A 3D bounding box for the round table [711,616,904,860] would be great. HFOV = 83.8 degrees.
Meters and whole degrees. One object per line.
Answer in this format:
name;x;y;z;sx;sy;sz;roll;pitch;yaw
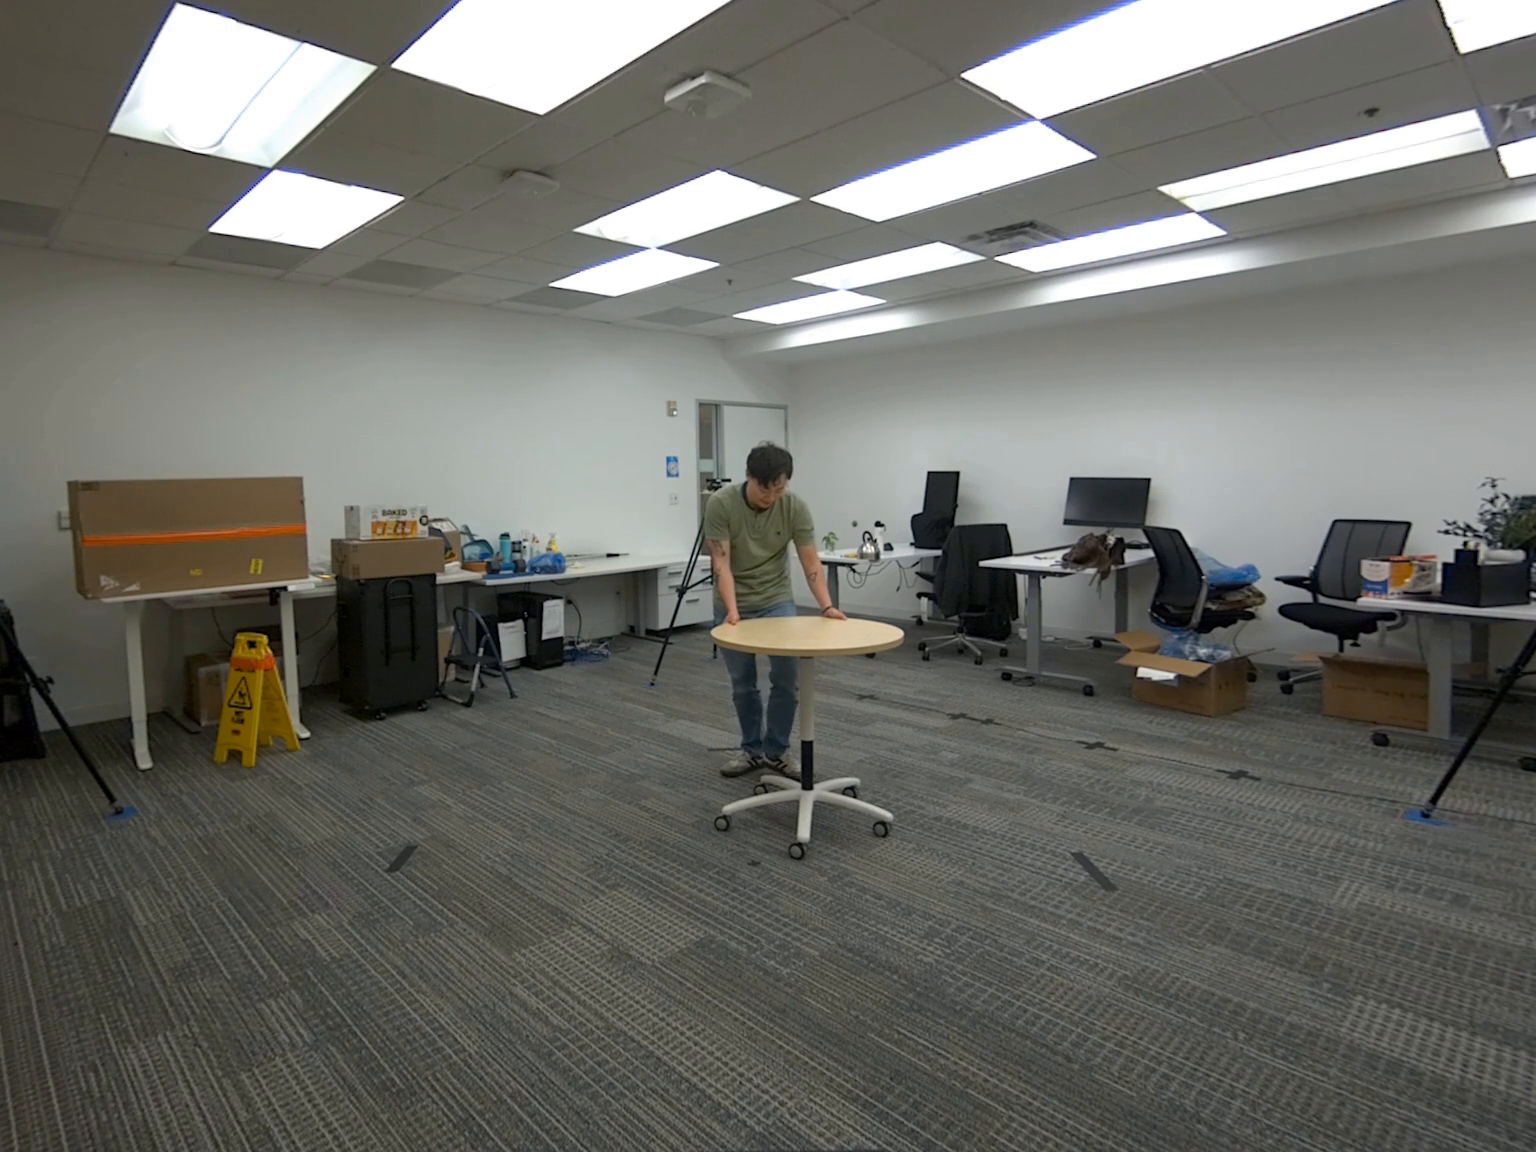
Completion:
round table;0.150;0.619;3.438;0.763;0.791;0.768;-1;5;-2
